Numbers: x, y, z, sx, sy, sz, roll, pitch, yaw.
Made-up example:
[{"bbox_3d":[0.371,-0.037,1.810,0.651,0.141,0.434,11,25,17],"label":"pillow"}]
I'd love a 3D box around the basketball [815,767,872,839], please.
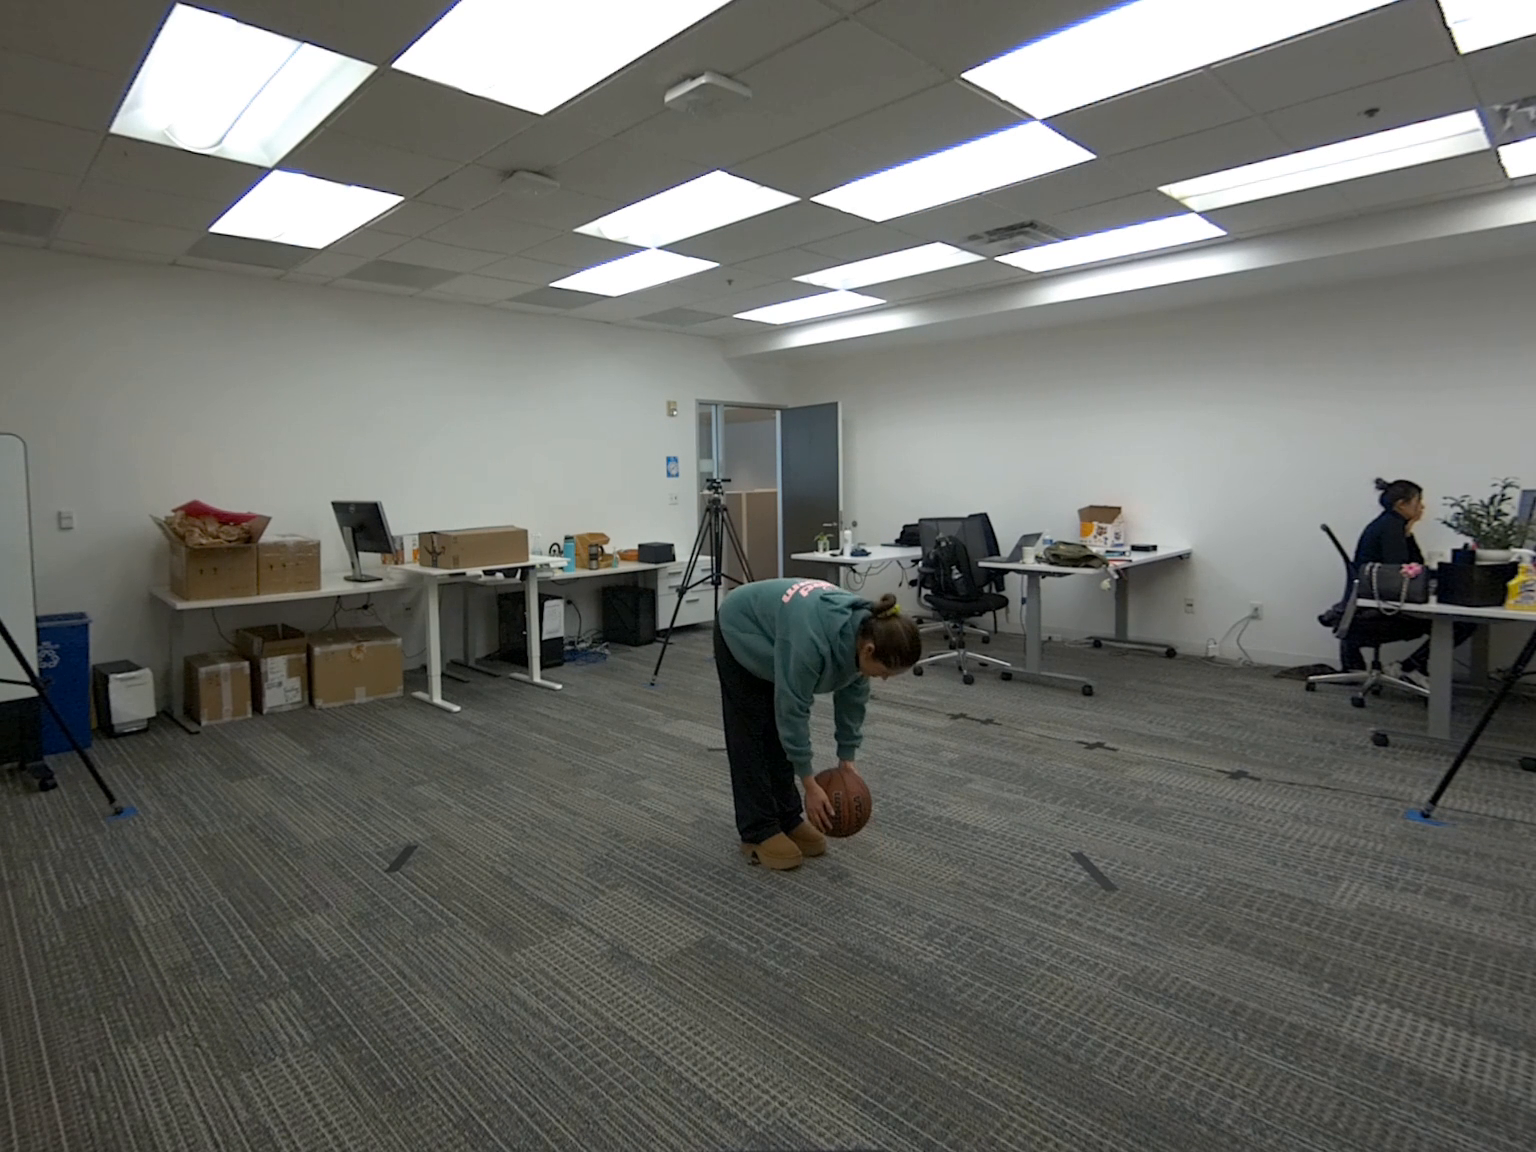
[{"bbox_3d":[0.252,0.785,2.998,0.236,0.235,0.237,-1,5,-2],"label":"basketball"}]
